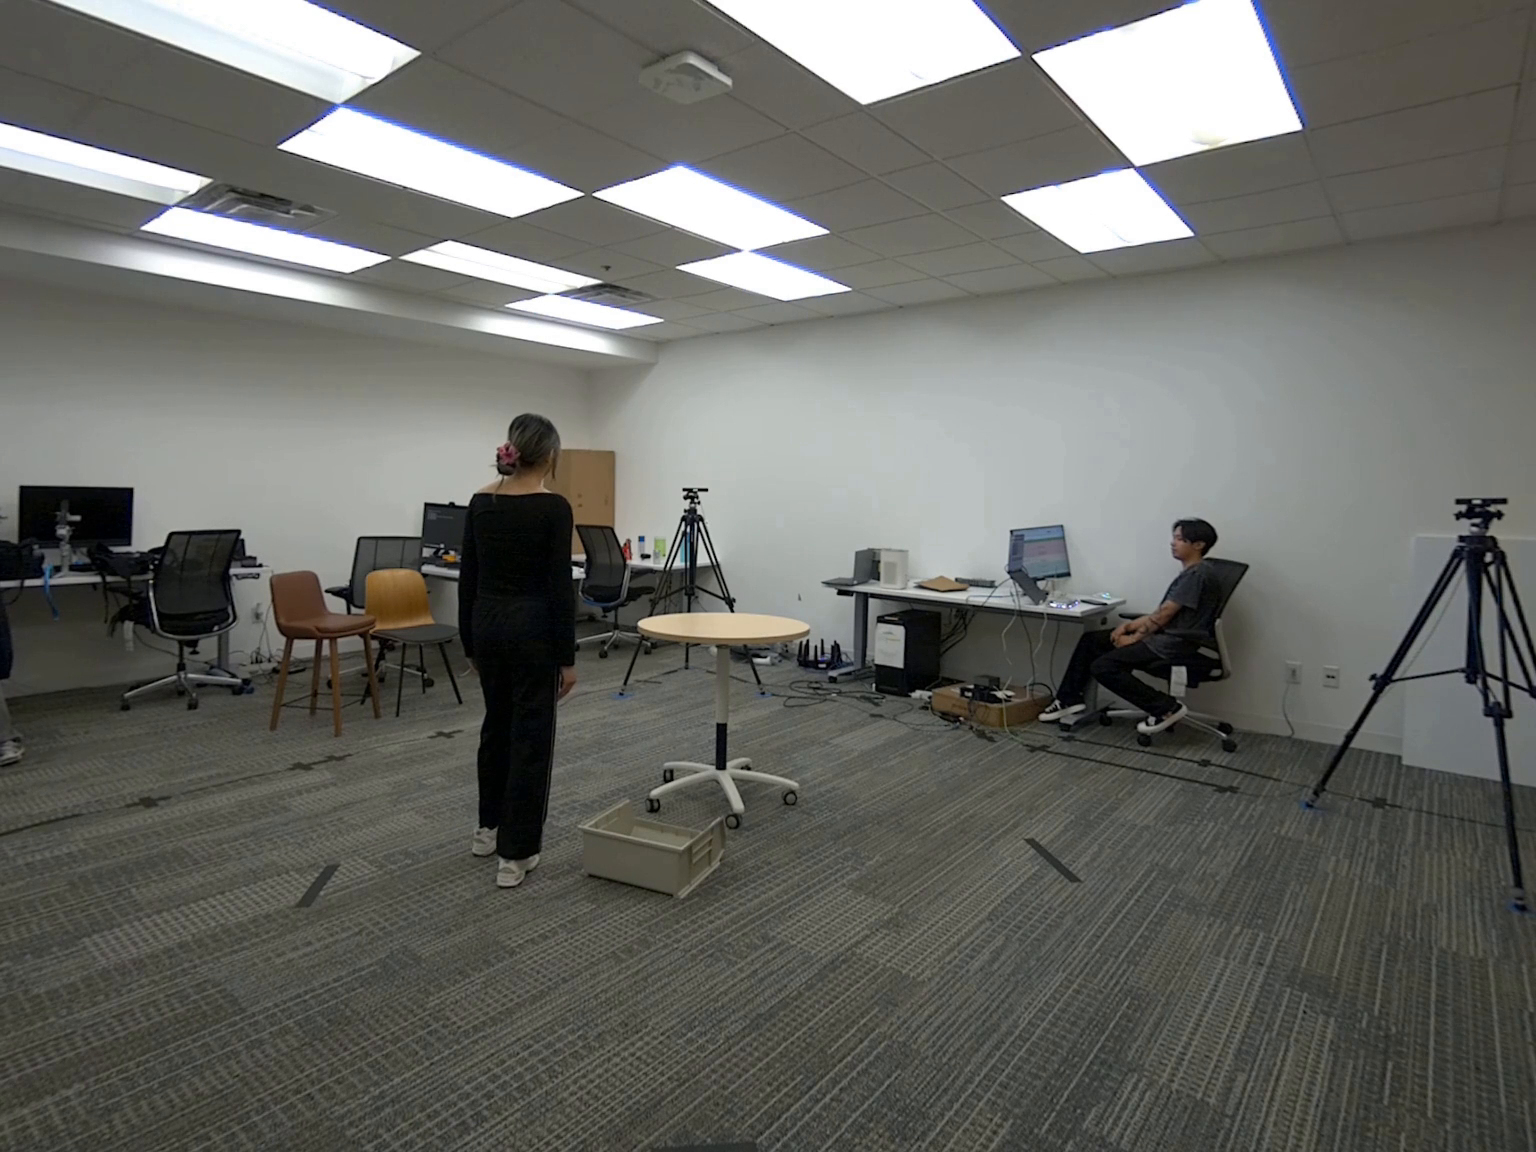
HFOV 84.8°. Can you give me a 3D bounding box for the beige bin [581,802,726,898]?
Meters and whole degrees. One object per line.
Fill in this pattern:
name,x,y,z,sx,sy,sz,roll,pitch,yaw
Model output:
beige bin,-0.426,0.980,3.110,0.433,0.188,0.370,3,6,24
